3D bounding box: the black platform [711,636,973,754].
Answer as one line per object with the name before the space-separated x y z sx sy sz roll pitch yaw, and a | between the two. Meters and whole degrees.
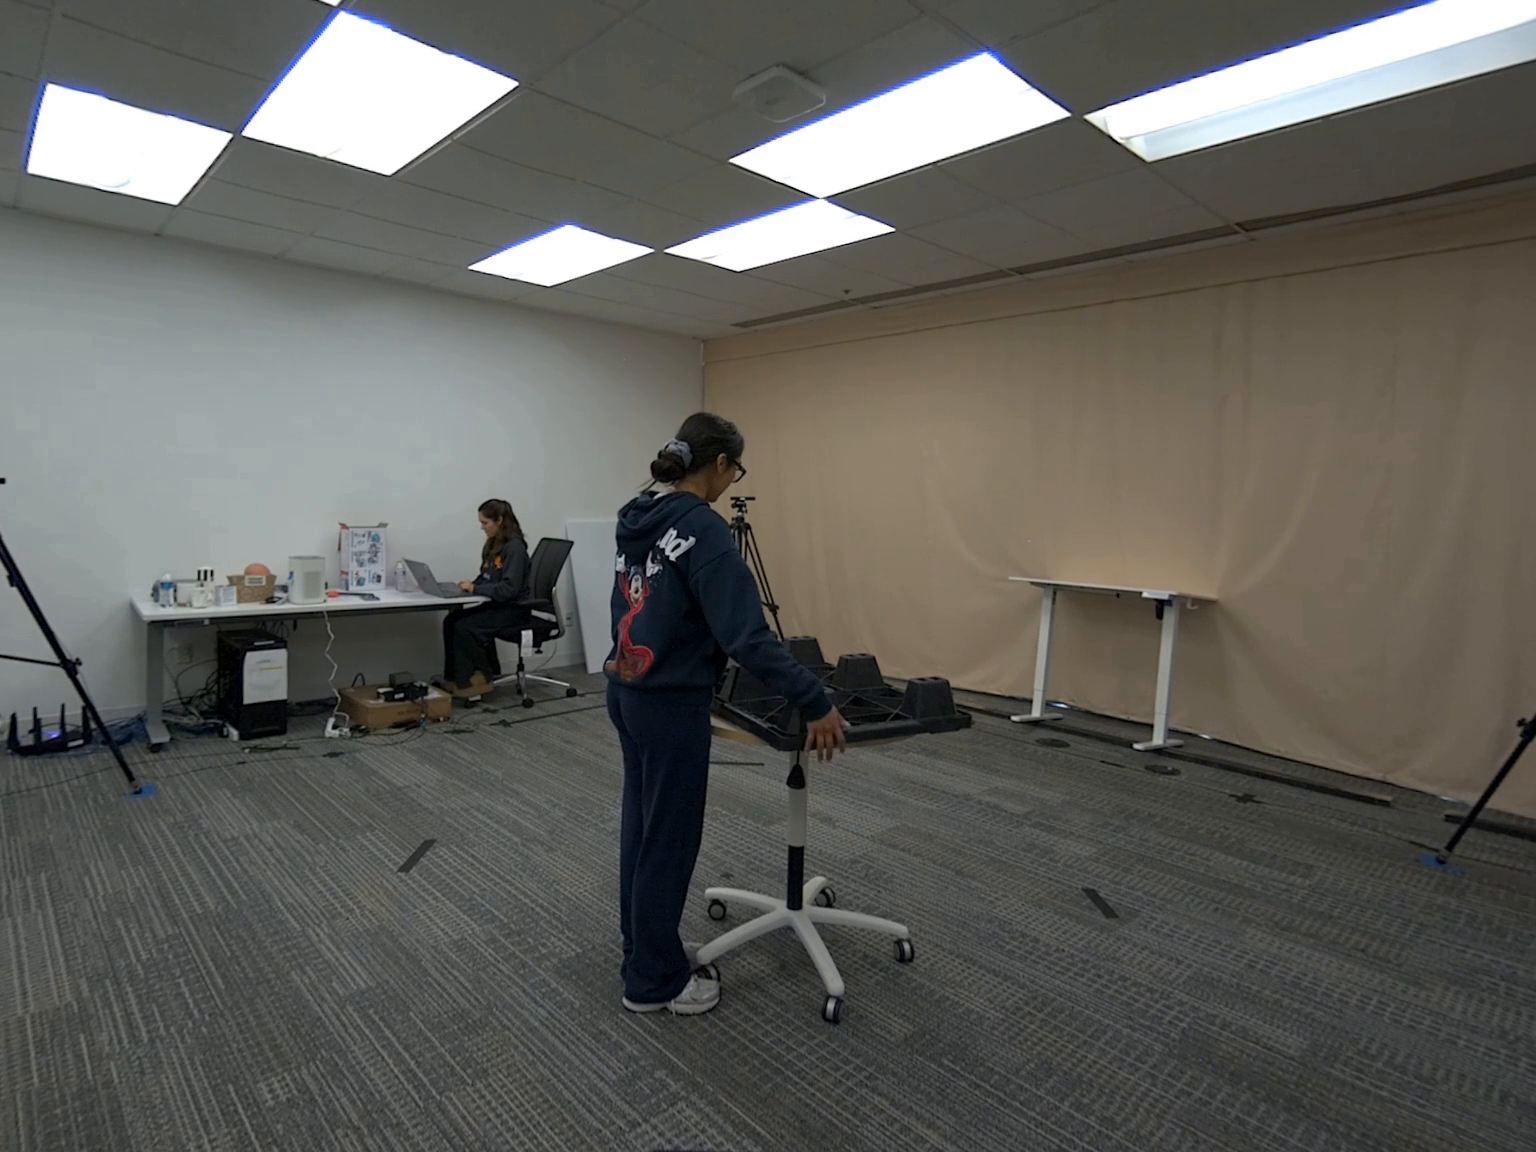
black platform | 0.120 0.323 2.525 0.594 0.143 0.823 -3 6 -27
